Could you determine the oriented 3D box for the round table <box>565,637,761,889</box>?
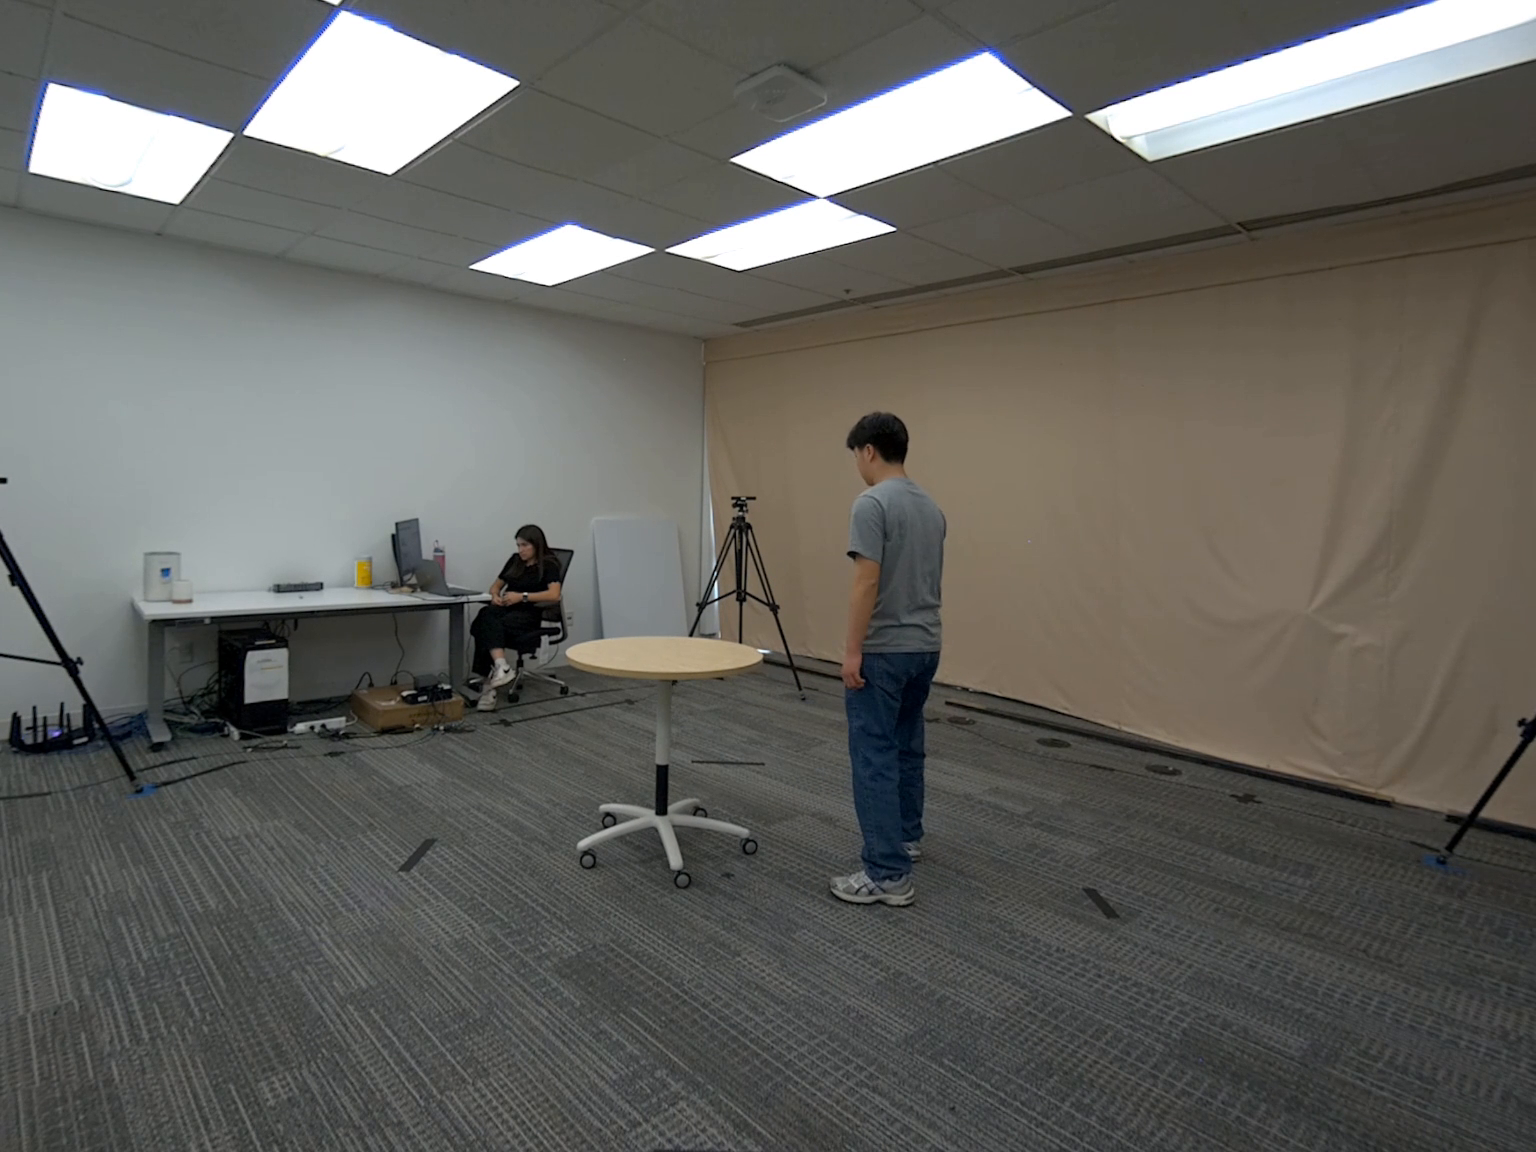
[{"bbox_3d":[-0.408,0.688,3.304,0.763,0.792,0.766,1,4,-1],"label":"round table"}]
